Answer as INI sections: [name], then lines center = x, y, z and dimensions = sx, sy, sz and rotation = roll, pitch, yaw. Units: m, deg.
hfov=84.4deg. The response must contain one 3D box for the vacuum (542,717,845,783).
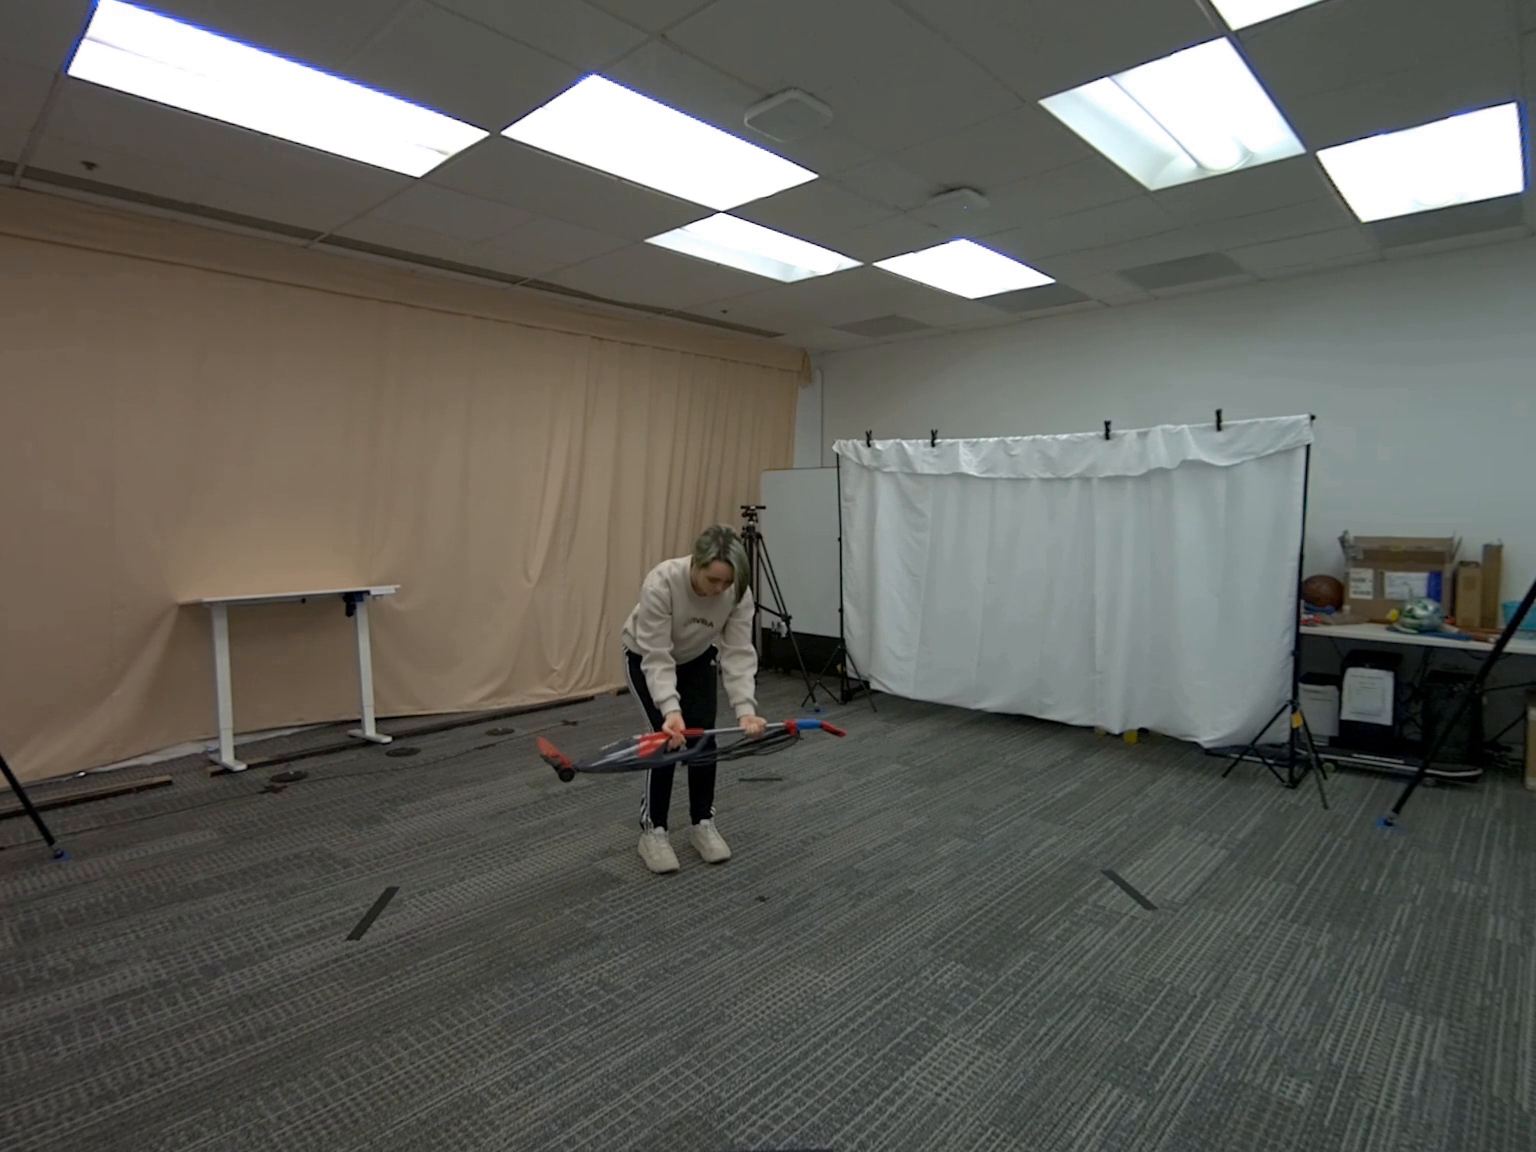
[vacuum]
center = -0.210, 0.593, 2.940
dimensions = 1.031, 0.143, 0.258
rotation = -2, 5, -17
